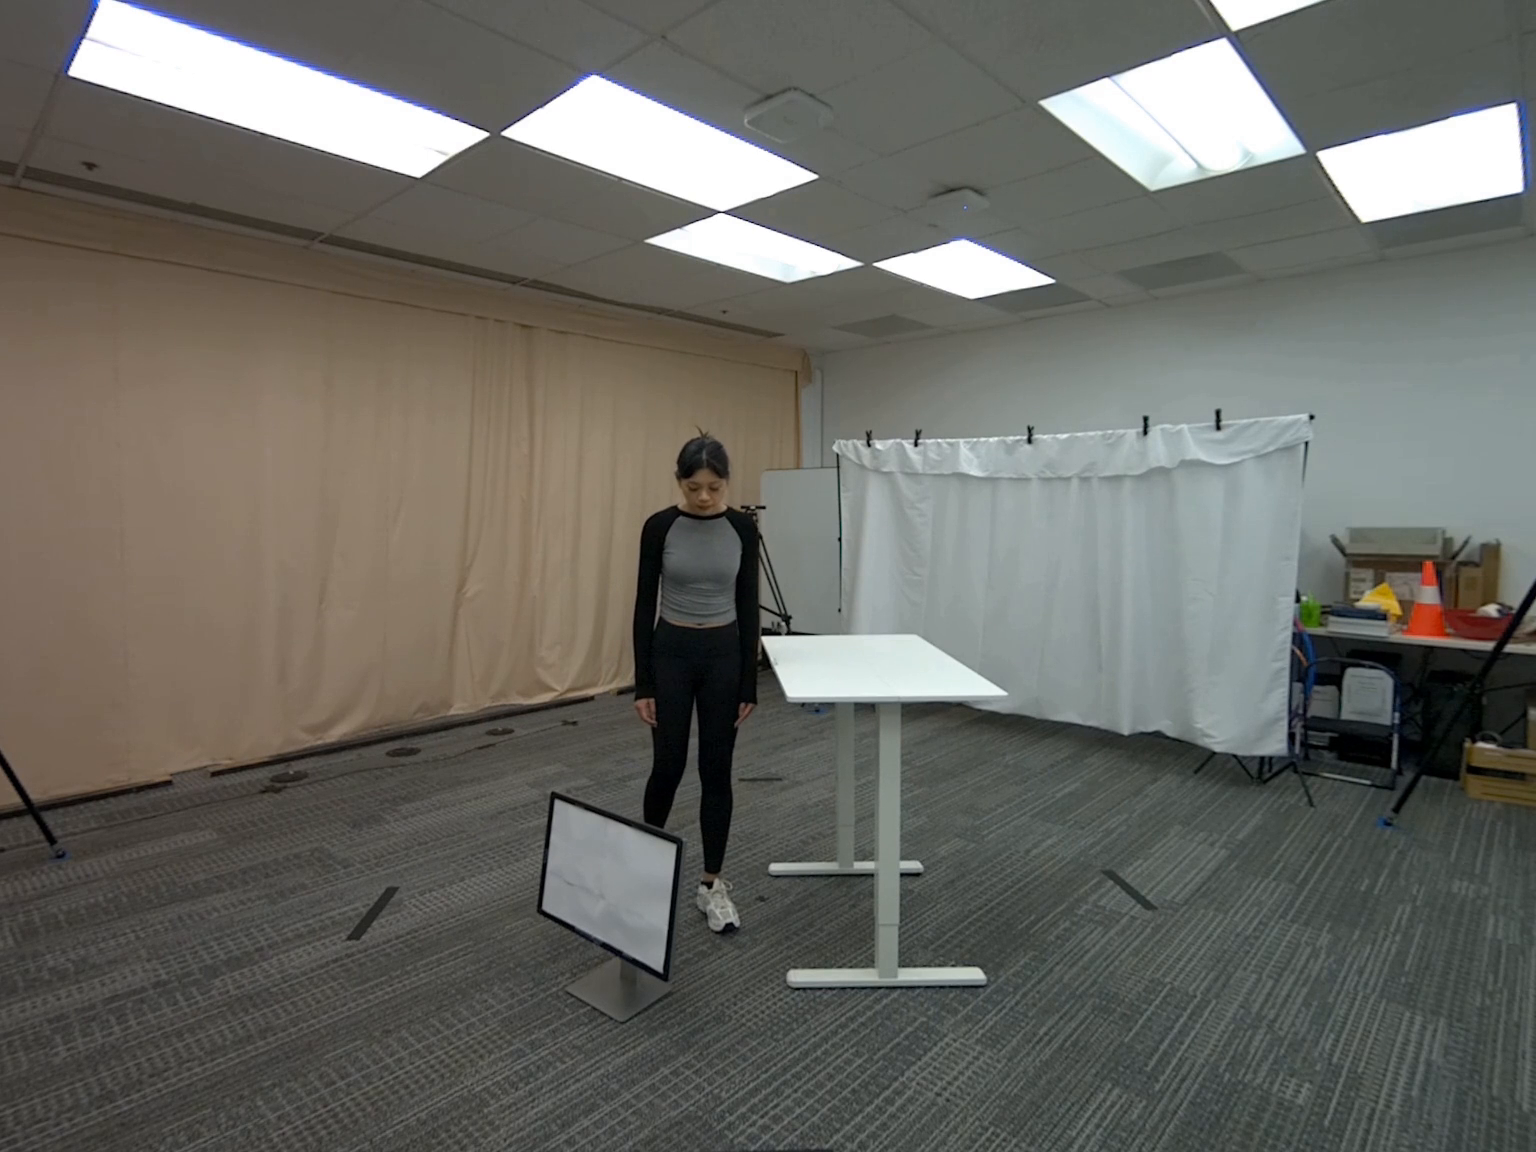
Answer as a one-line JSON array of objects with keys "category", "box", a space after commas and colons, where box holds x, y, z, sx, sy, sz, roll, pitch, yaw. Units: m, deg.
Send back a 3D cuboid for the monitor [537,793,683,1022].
[{"category": "monitor", "box": [-0.428, 0.934, 2.401, 0.556, 0.521, 0.182, 3, 6, 38]}]
